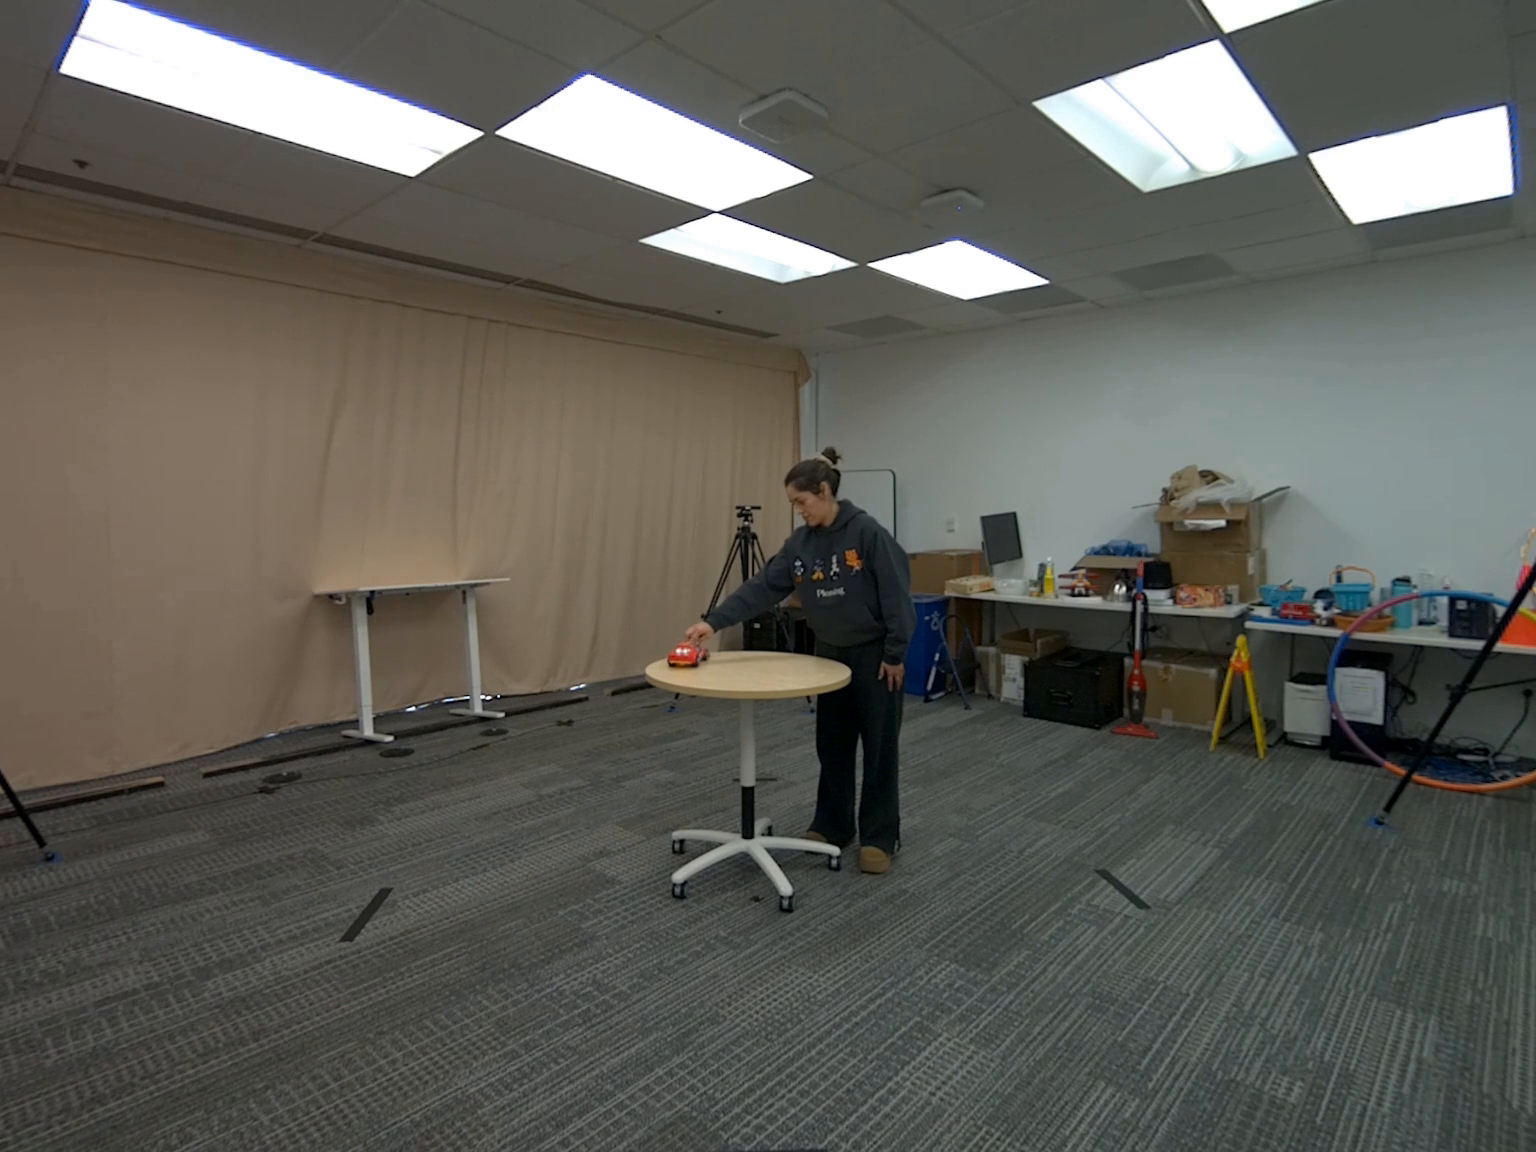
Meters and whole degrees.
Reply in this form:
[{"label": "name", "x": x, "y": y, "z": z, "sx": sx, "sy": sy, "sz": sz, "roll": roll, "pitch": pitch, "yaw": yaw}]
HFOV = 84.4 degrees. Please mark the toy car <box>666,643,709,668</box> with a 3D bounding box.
[{"label": "toy car", "x": -0.297, "y": 0.312, "z": 3.241, "sx": 0.132, "sy": 0.083, "sz": 0.250, "roll": 1, "pitch": -6, "yaw": 12}]
